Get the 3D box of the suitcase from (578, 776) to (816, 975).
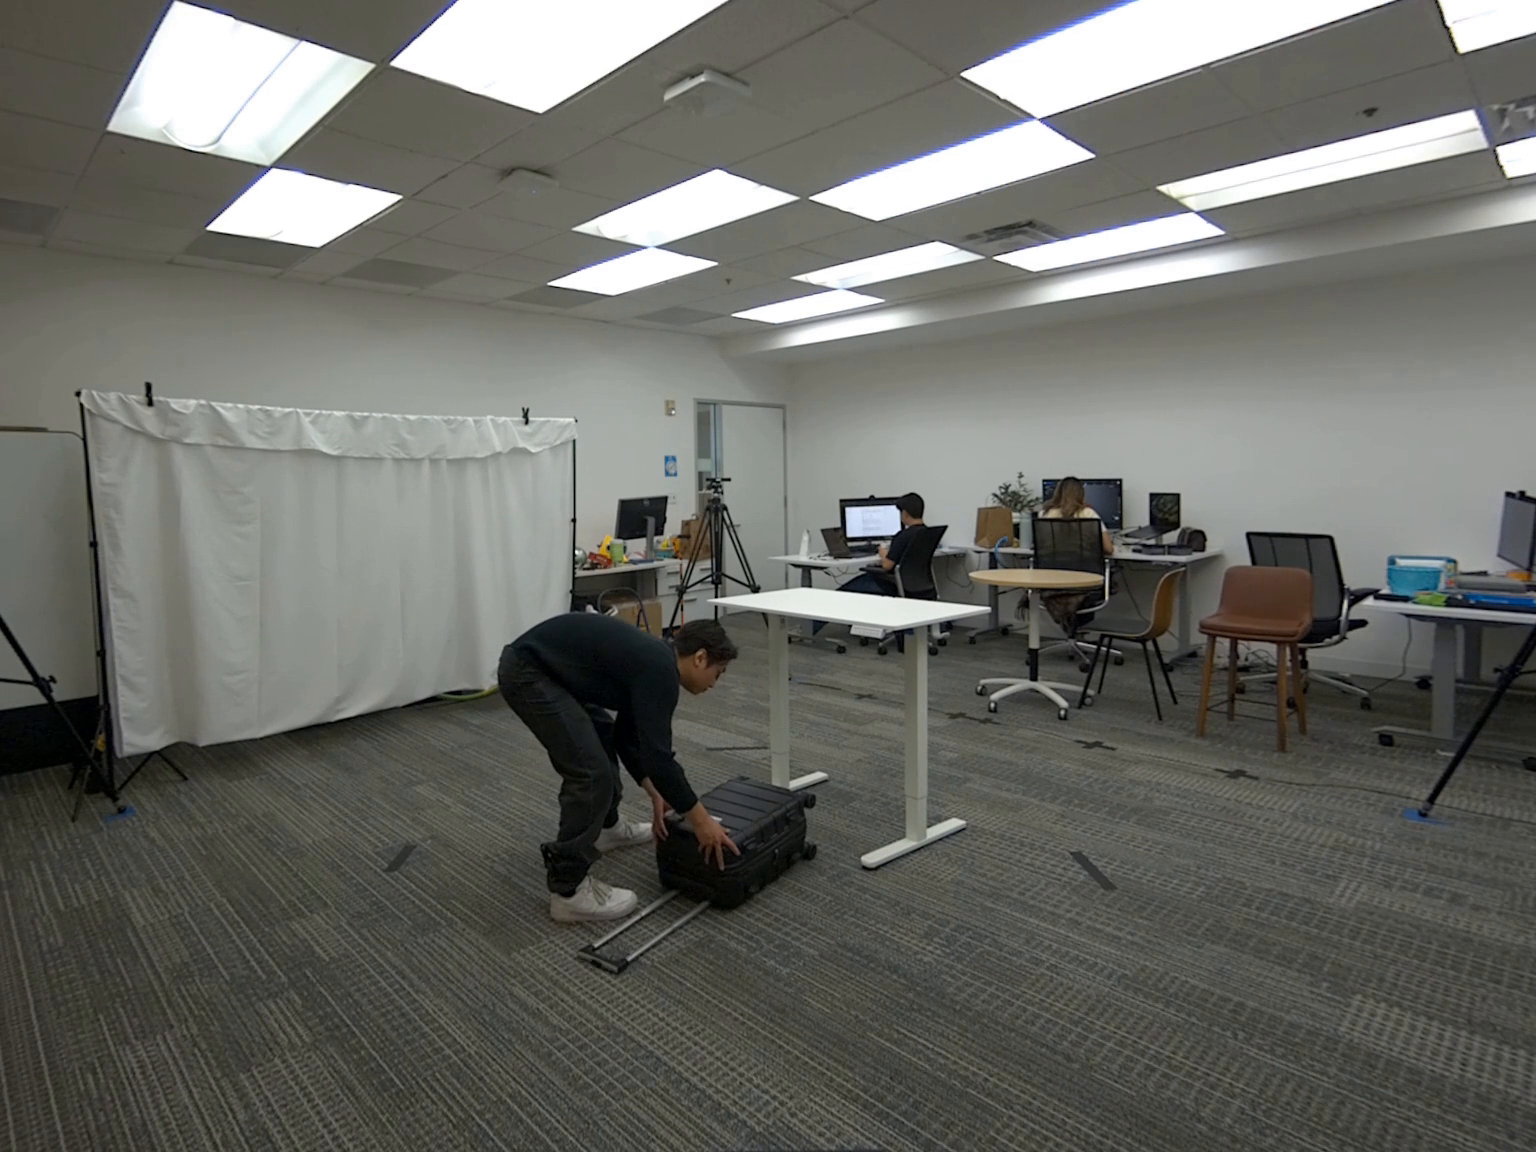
[{"bbox_3d":[-0.222,0.945,2.857,0.395,0.255,0.956,6,9,33],"label":"suitcase"}]
